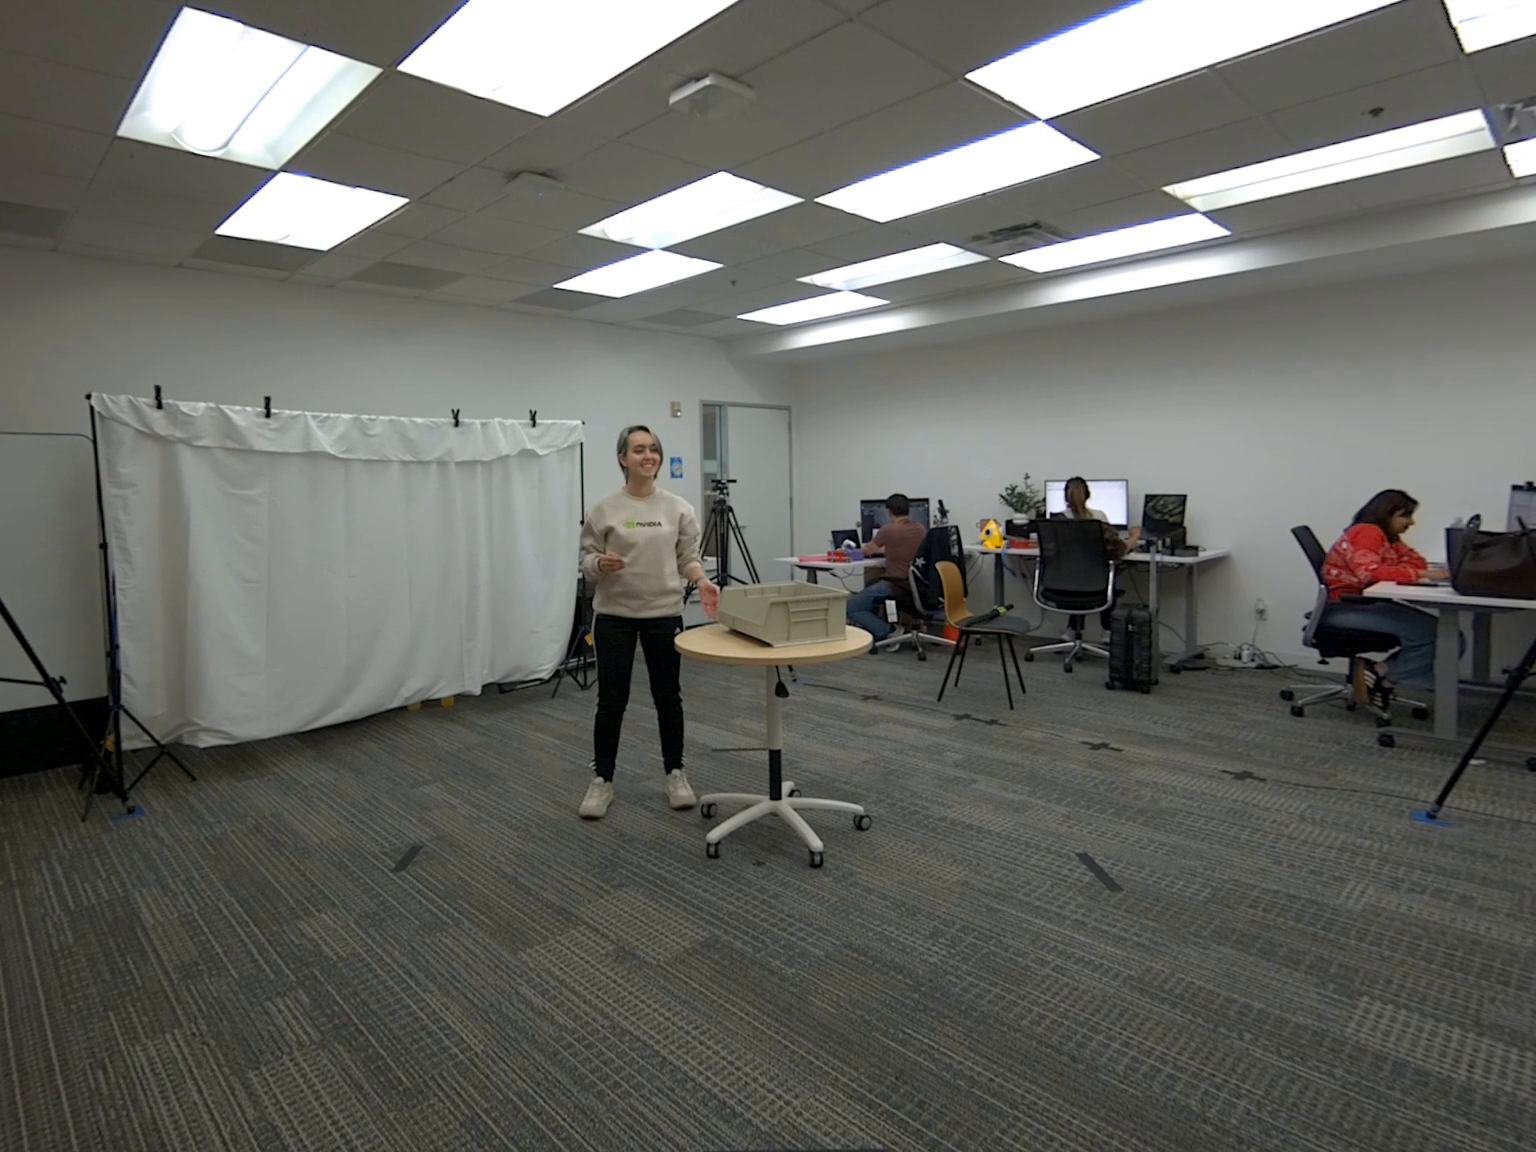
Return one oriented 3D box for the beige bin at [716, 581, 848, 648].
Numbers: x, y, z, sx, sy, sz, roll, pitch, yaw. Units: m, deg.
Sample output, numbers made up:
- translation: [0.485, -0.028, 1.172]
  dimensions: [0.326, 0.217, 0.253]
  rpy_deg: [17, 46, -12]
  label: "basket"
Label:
- translation: [0.056, 0.145, 3.341]
  dimensions: [0.370, 0.188, 0.432]
  rpy_deg: [-3, 6, -23]
  label: "beige bin"
